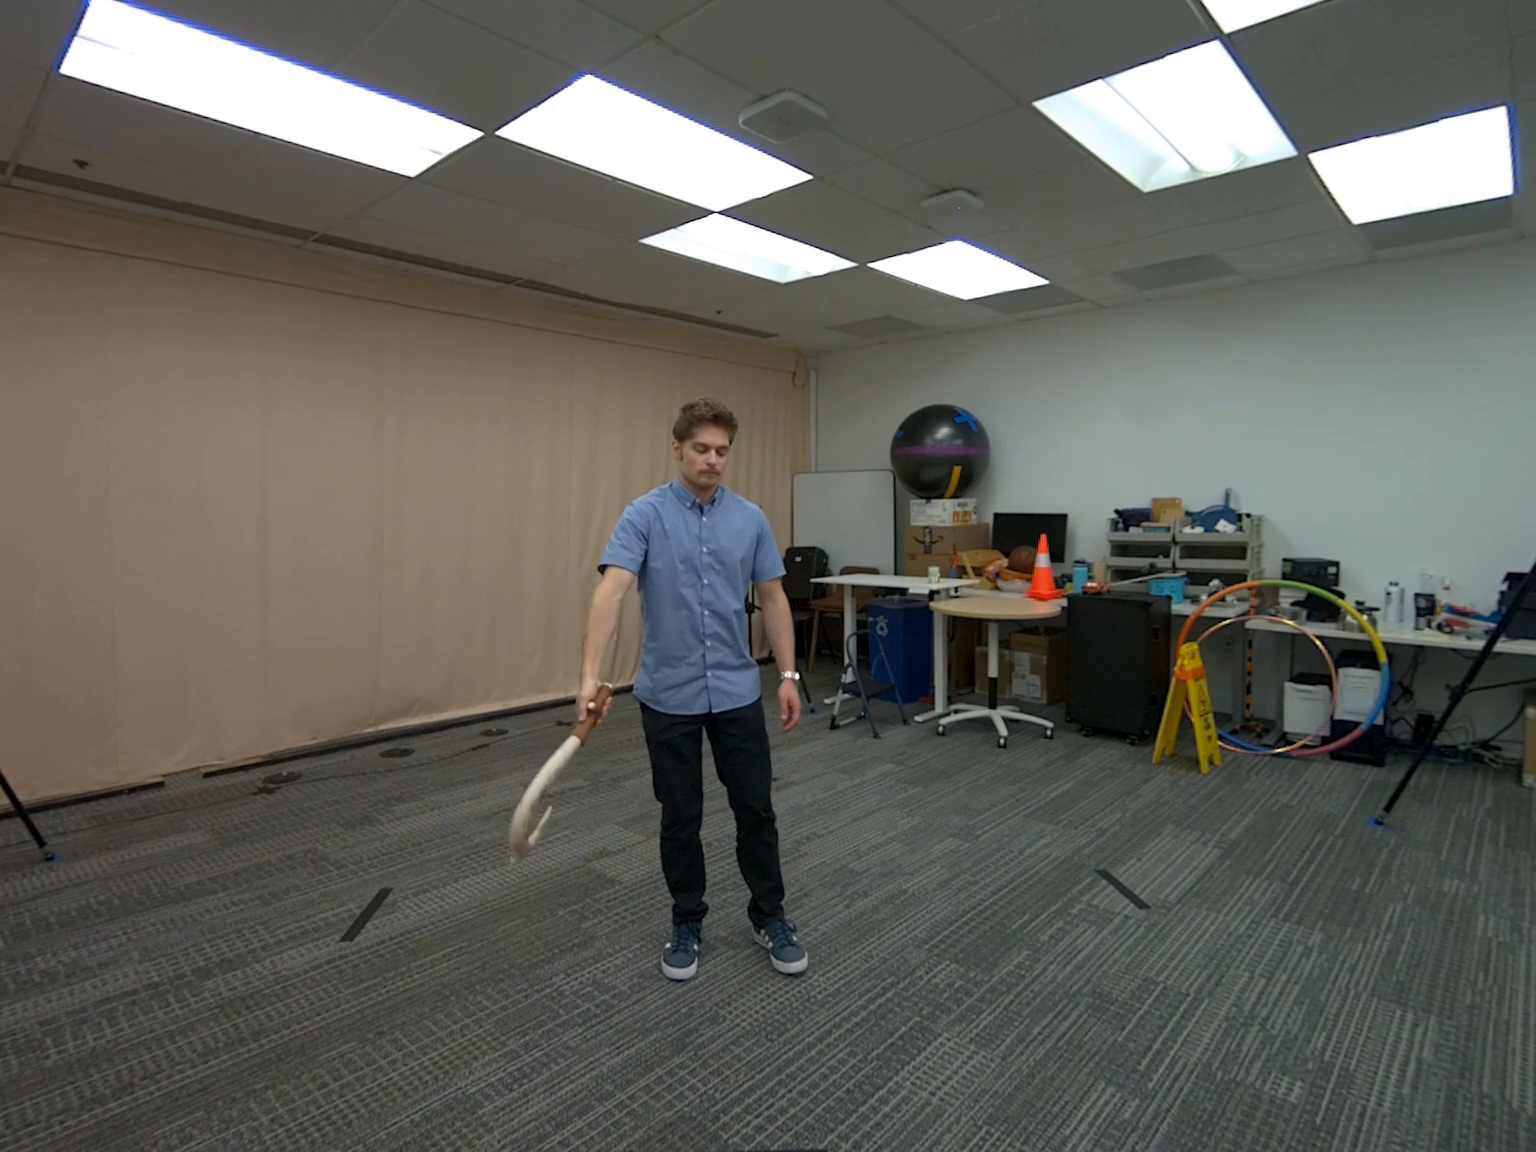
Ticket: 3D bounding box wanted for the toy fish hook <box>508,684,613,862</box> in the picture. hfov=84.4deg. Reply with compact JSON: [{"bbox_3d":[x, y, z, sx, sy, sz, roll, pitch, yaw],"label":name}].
[{"bbox_3d":[-0.479,0.470,2.070,0.049,0.222,0.506,21,38,5],"label":"toy fish hook"}]
